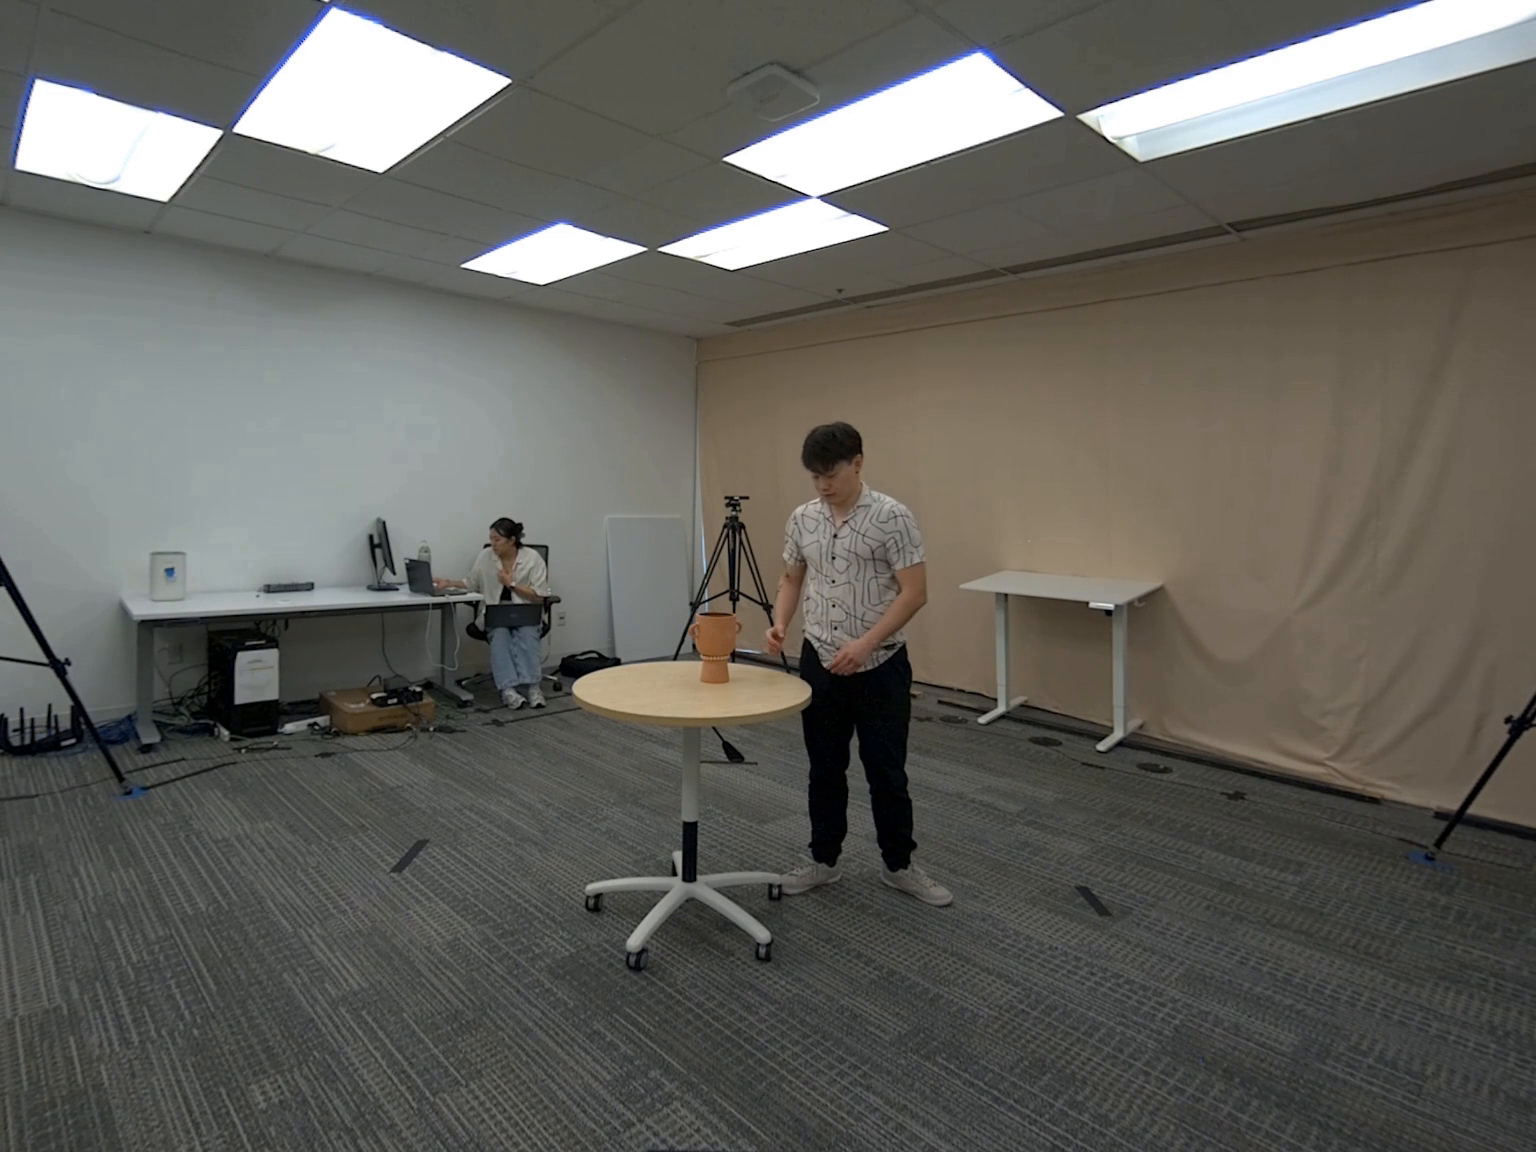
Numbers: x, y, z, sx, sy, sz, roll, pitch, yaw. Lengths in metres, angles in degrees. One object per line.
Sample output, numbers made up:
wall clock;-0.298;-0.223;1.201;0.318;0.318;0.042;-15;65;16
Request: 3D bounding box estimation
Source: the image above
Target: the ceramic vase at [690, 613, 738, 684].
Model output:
ceramic vase;-0.176;0.240;2.785;0.160;0.219;0.134;2;4;9
